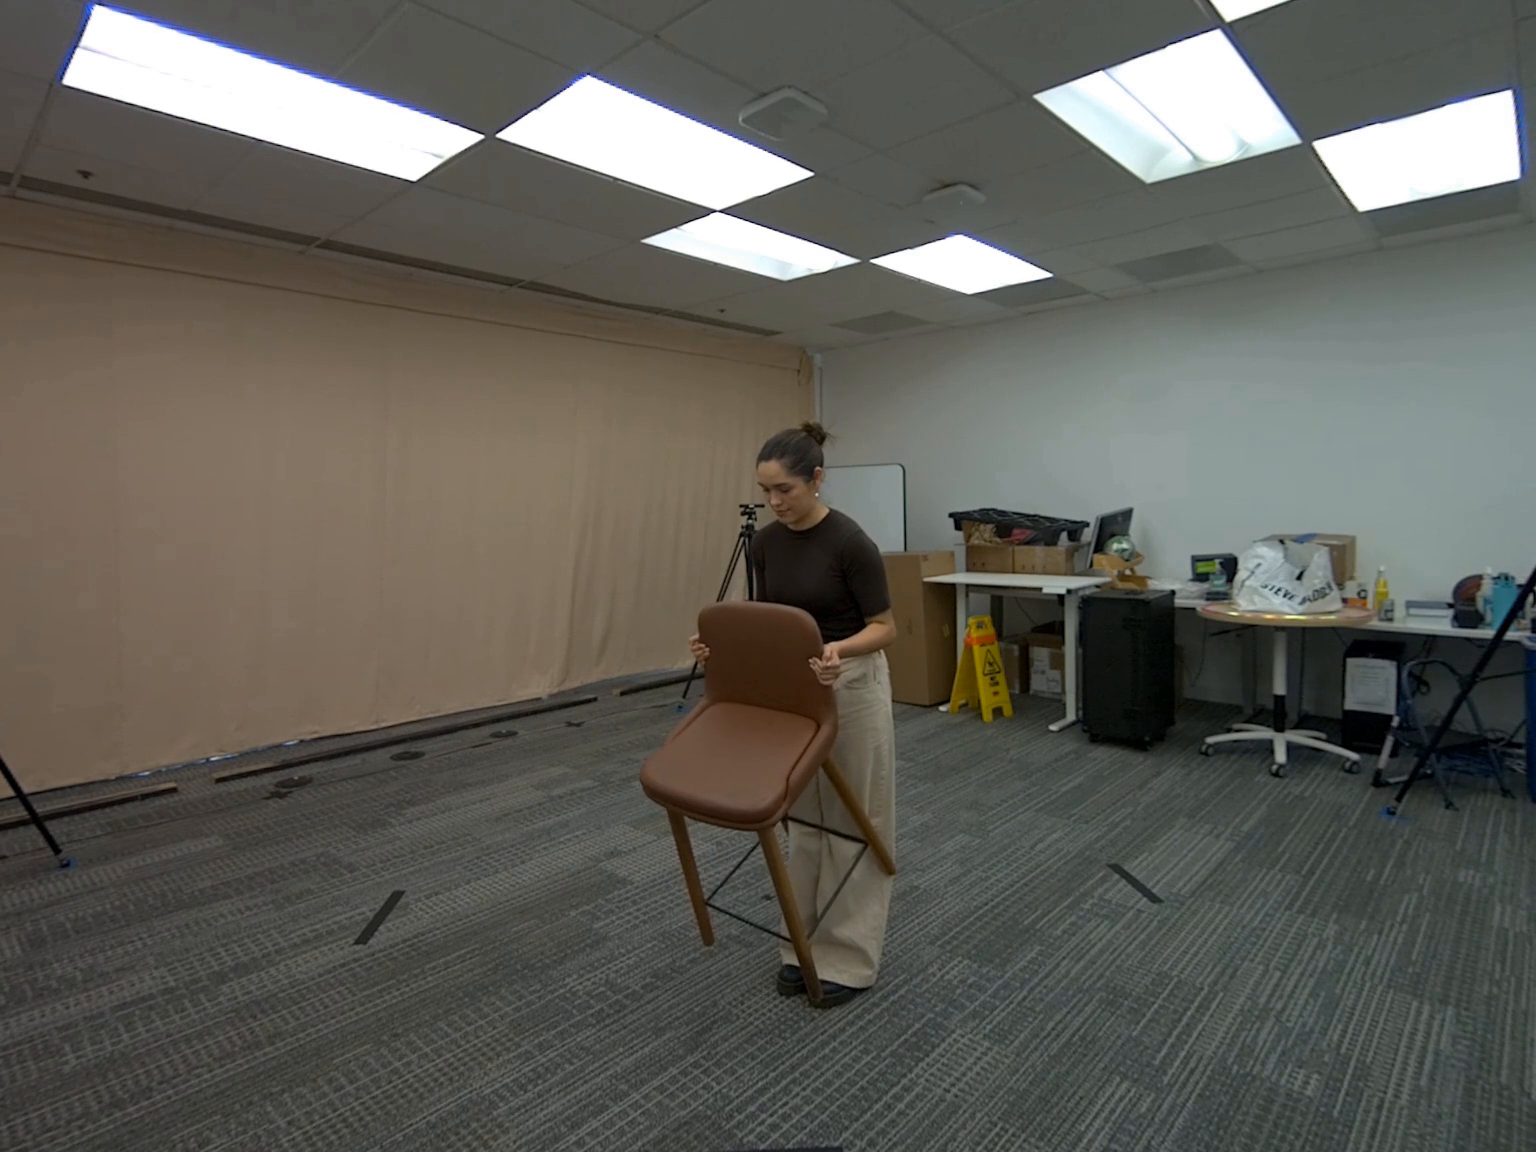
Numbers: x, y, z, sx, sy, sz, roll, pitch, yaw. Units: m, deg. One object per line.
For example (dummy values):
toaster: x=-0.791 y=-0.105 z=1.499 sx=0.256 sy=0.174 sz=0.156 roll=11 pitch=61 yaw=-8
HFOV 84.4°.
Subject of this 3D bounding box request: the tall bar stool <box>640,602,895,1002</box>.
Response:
tall bar stool: x=-0.024 y=0.579 z=2.222 sx=0.472 sy=0.873 sz=0.461 roll=4 pitch=29 yaw=42
